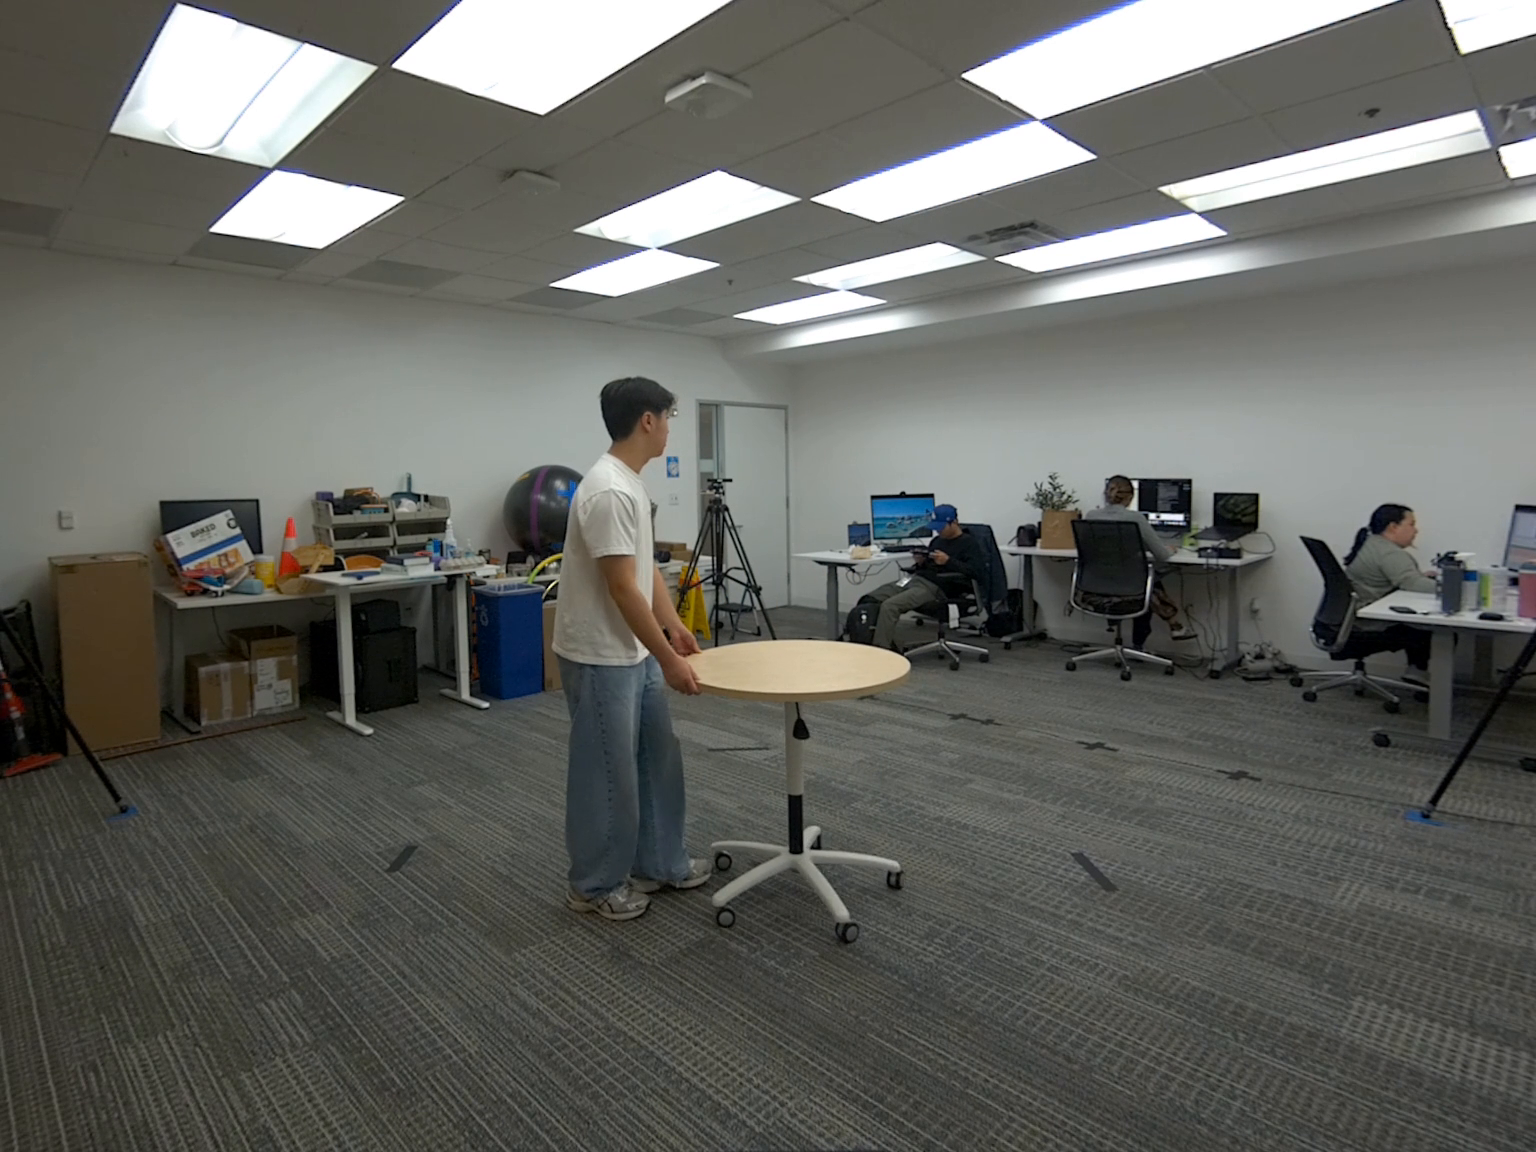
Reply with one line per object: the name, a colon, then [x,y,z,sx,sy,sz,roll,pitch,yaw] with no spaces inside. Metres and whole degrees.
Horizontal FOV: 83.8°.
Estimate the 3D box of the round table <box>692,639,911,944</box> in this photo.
round table: [0.093,0.679,2.865,0.763,0.791,0.768,-1,5,-2]
